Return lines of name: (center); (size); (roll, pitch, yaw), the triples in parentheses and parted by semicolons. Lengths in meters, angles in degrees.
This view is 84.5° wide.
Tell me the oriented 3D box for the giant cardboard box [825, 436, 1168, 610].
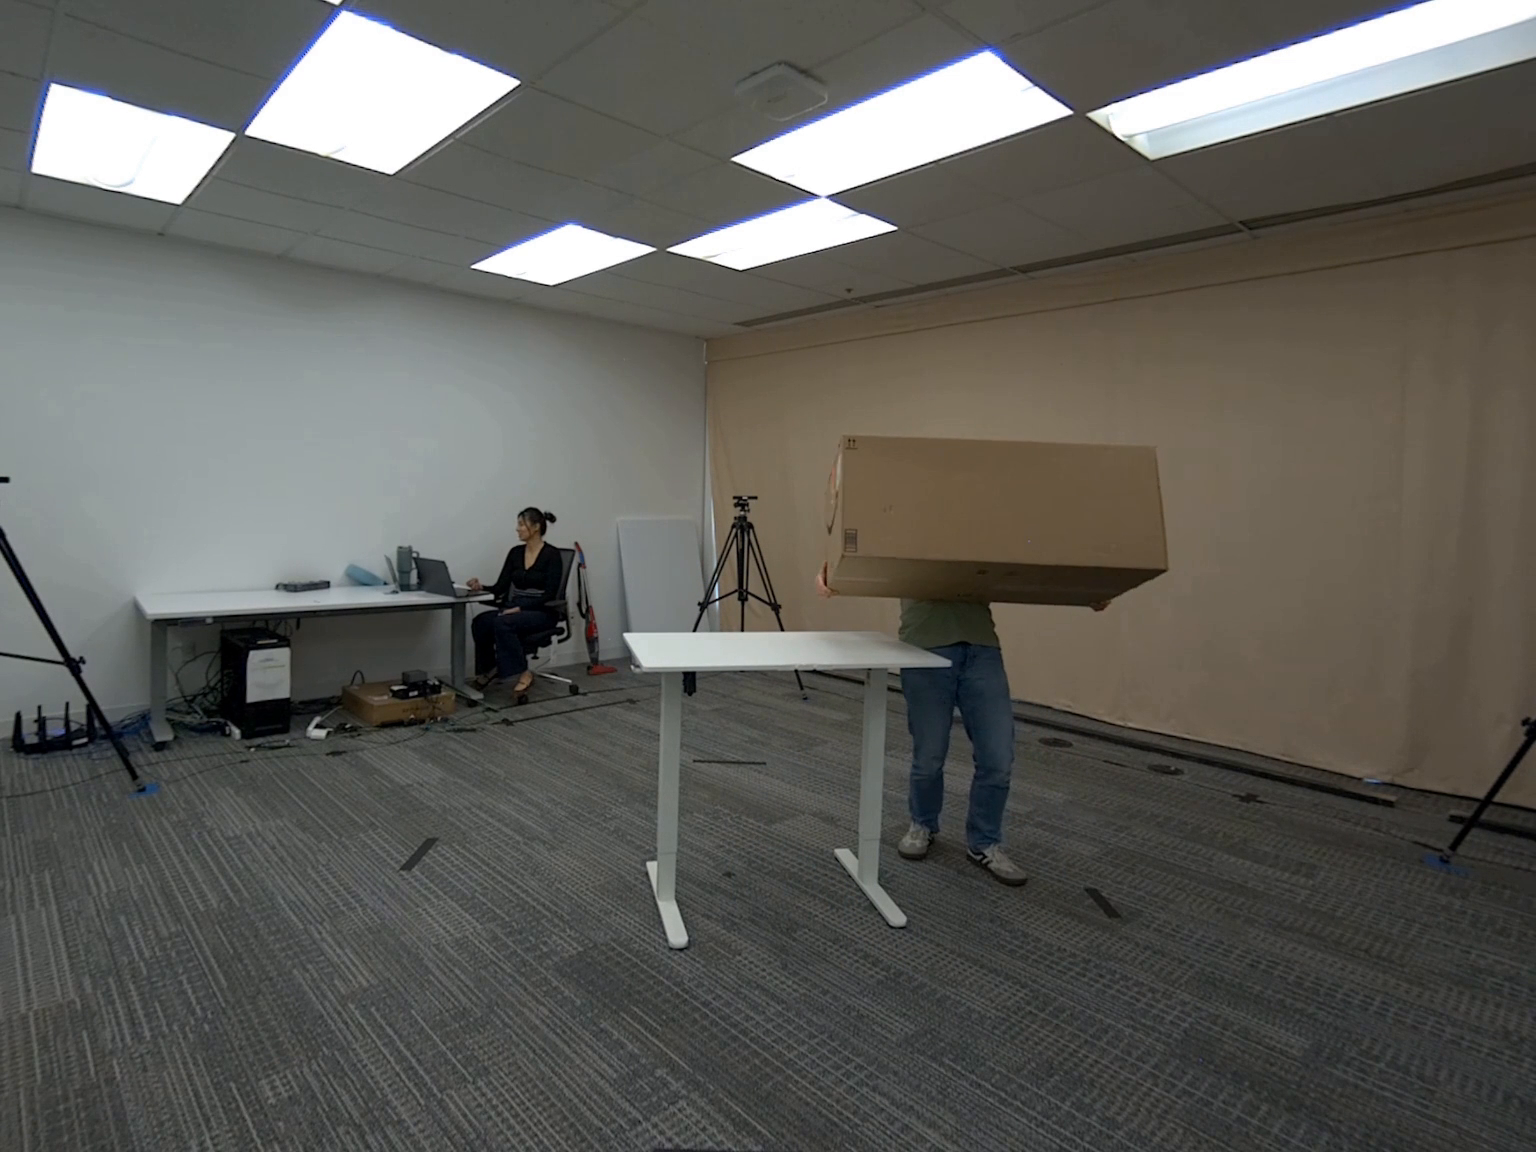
giant cardboard box: (0.738, -0.186, 2.966); (1.027, 0.431, 0.570); (2, -16, 1)
